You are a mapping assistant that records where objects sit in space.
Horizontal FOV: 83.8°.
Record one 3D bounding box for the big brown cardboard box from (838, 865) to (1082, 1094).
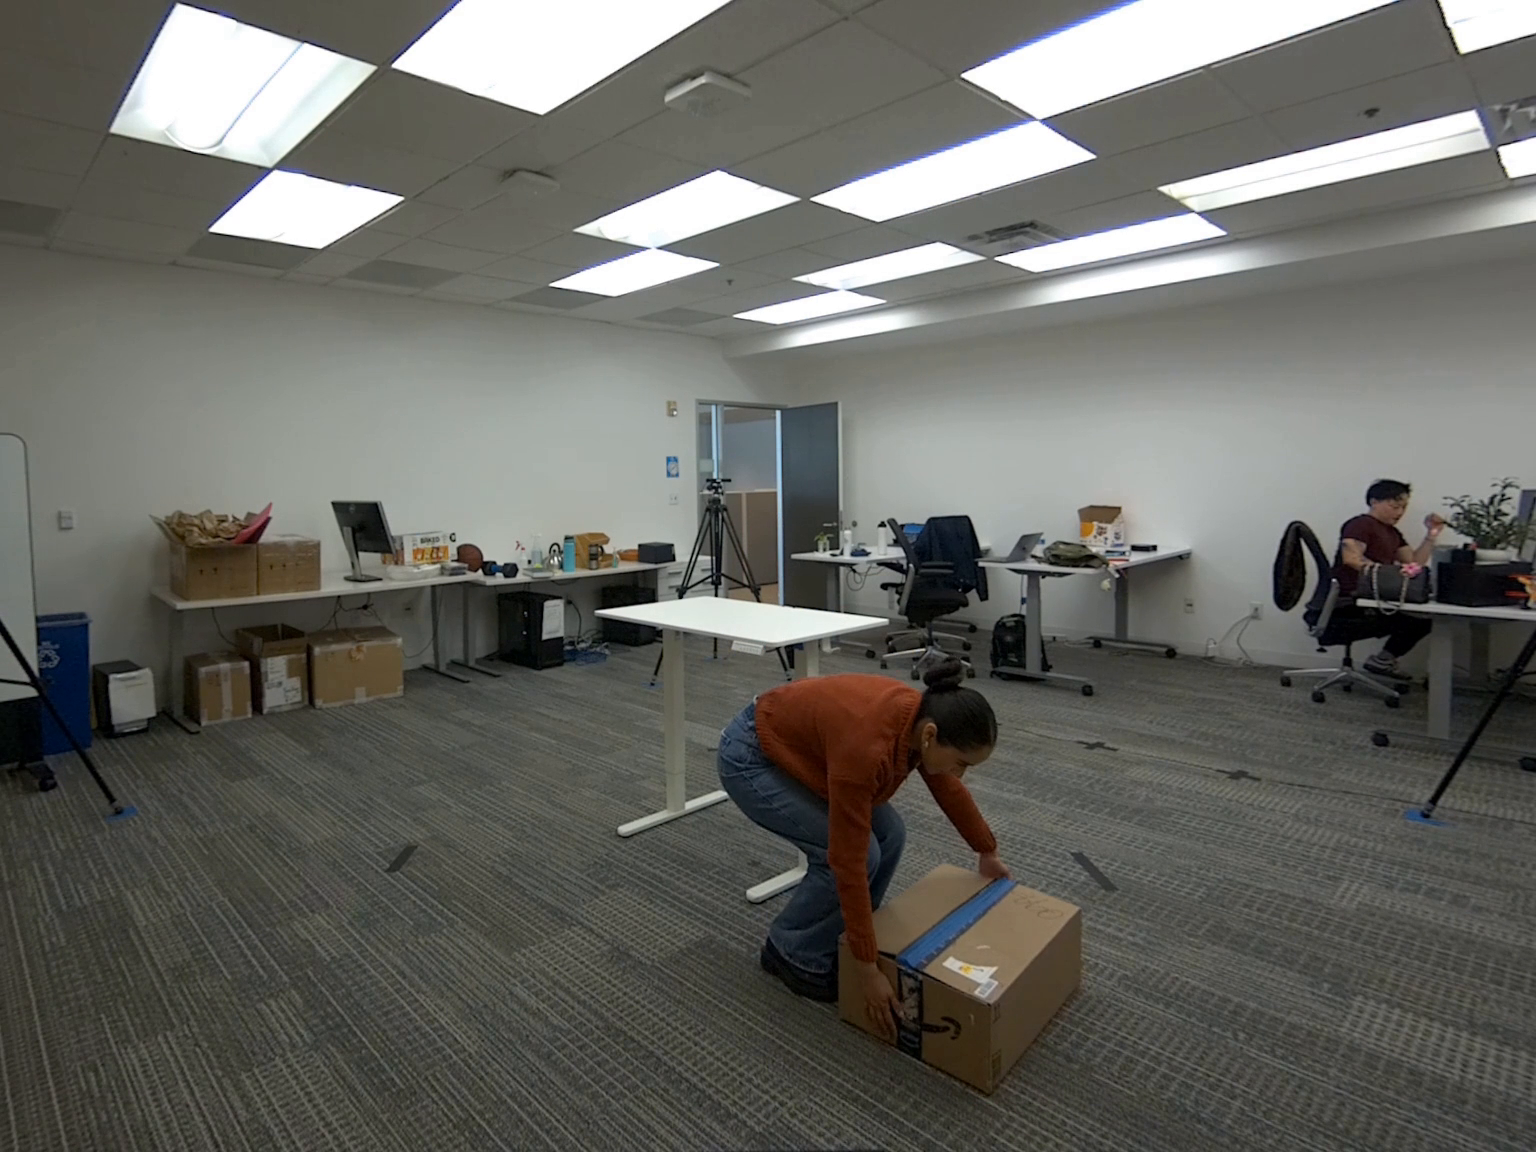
[{"bbox_3d":[0.518,1.014,2.255,0.430,0.232,0.574,5,8,40],"label":"big brown cardboard box"}]
